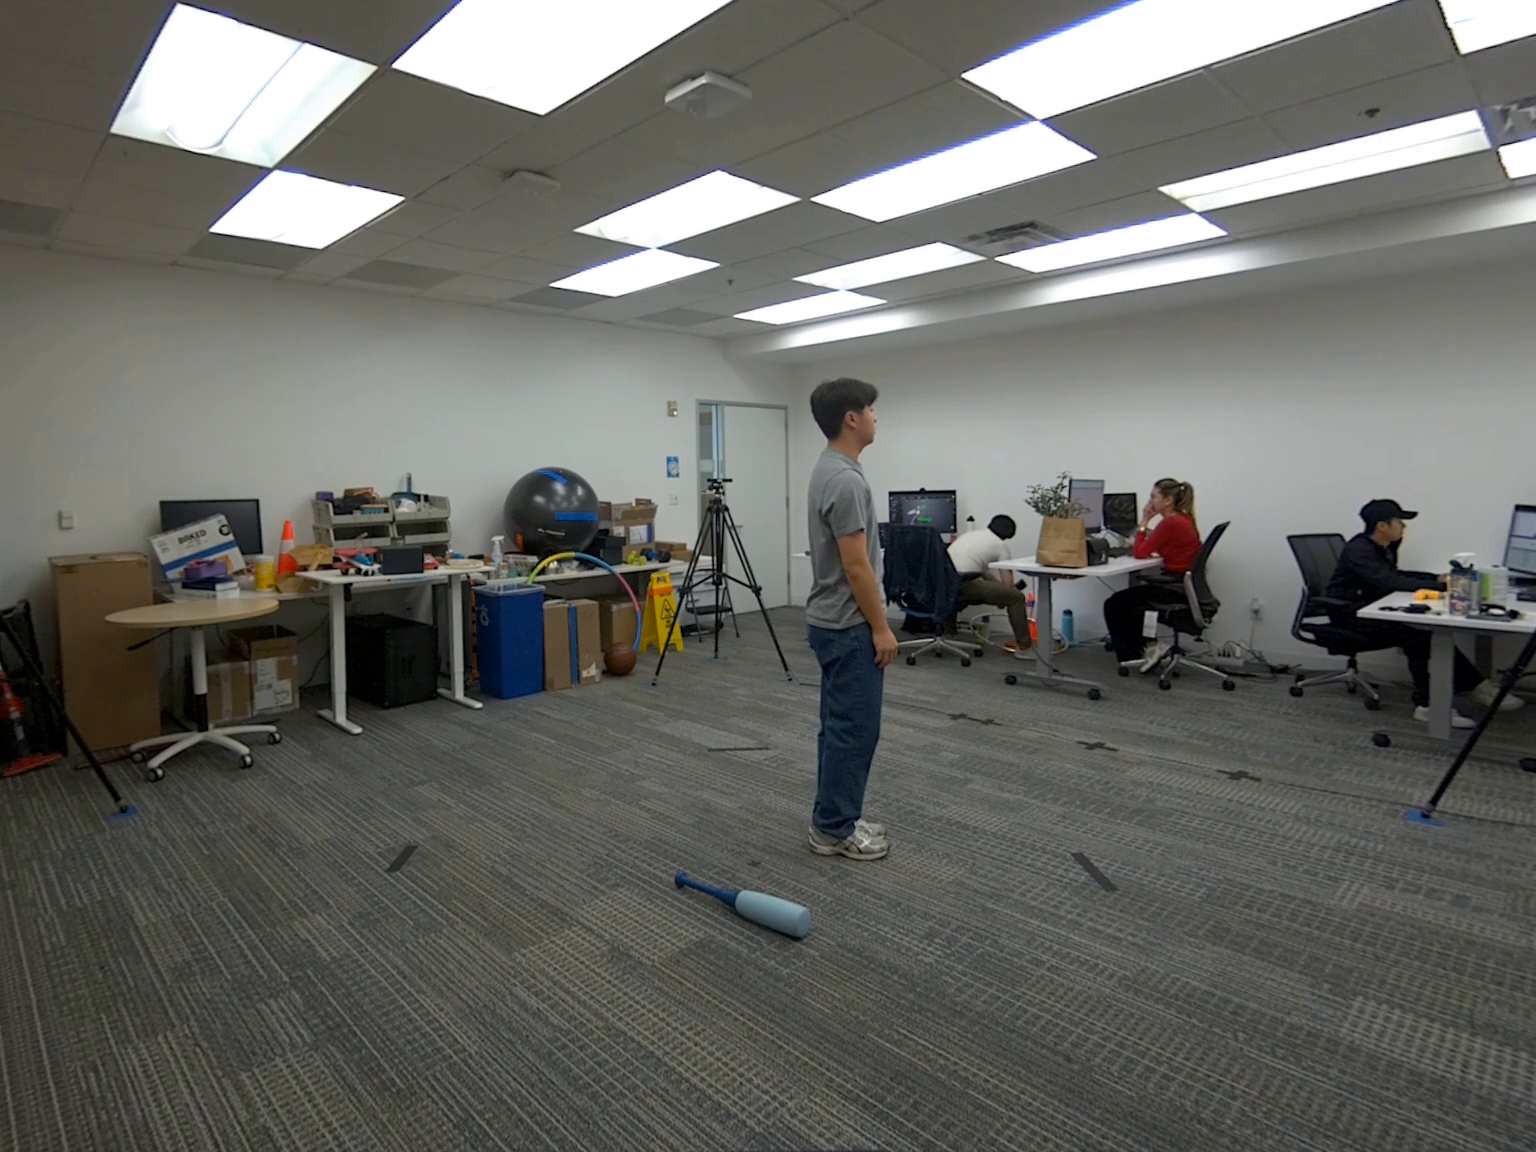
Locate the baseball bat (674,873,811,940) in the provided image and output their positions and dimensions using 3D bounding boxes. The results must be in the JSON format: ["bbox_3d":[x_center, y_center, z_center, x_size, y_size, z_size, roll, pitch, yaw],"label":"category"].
[{"bbox_3d":[-0.094,1.049,2.761,0.559,0.089,0.087,2,5,41],"label":"baseball bat"}]
